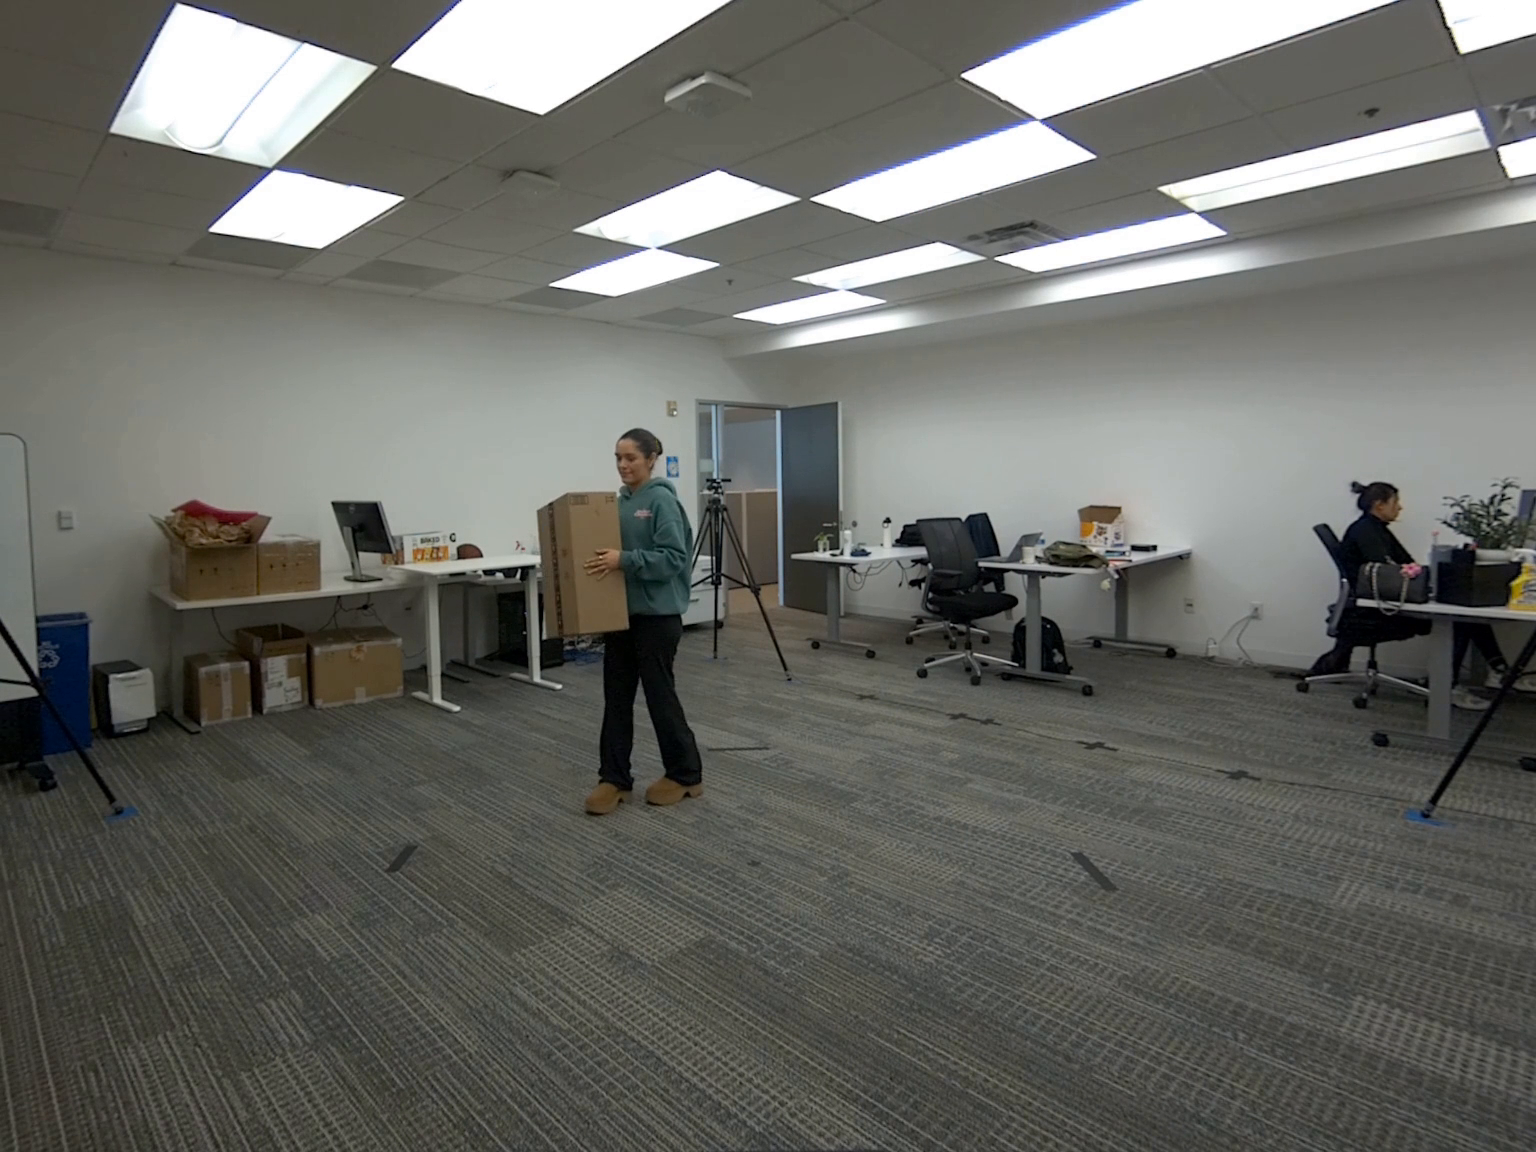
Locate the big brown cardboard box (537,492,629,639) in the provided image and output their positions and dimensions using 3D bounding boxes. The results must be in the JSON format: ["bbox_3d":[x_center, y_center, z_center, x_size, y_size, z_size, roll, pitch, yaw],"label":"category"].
[{"bbox_3d":[-0.785,-0.035,3.606,0.228,0.592,0.425,-4,-5,-31],"label":"big brown cardboard box"}]
